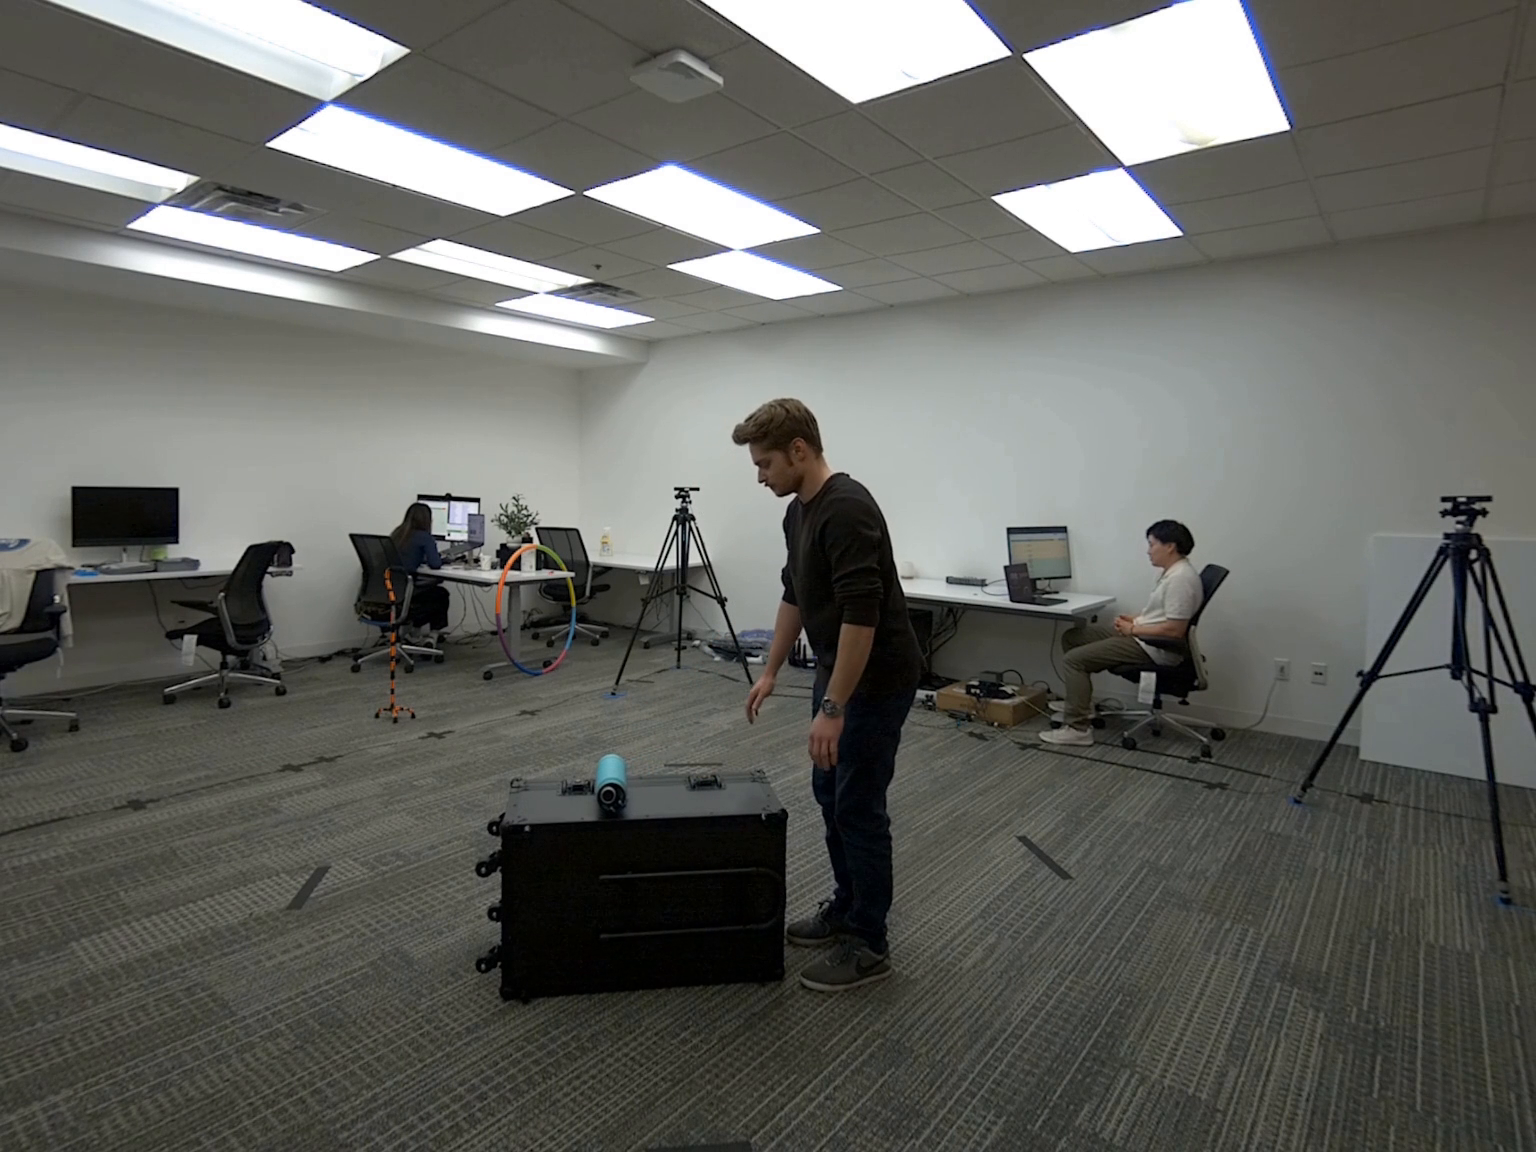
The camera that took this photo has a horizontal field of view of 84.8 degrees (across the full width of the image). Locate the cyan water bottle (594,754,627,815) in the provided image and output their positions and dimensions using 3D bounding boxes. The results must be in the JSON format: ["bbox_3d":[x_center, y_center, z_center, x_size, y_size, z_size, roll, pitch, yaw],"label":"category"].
[{"bbox_3d":[-0.457,0.597,2.456,0.091,0.092,0.287,0,5,-9],"label":"cyan water bottle"}]
